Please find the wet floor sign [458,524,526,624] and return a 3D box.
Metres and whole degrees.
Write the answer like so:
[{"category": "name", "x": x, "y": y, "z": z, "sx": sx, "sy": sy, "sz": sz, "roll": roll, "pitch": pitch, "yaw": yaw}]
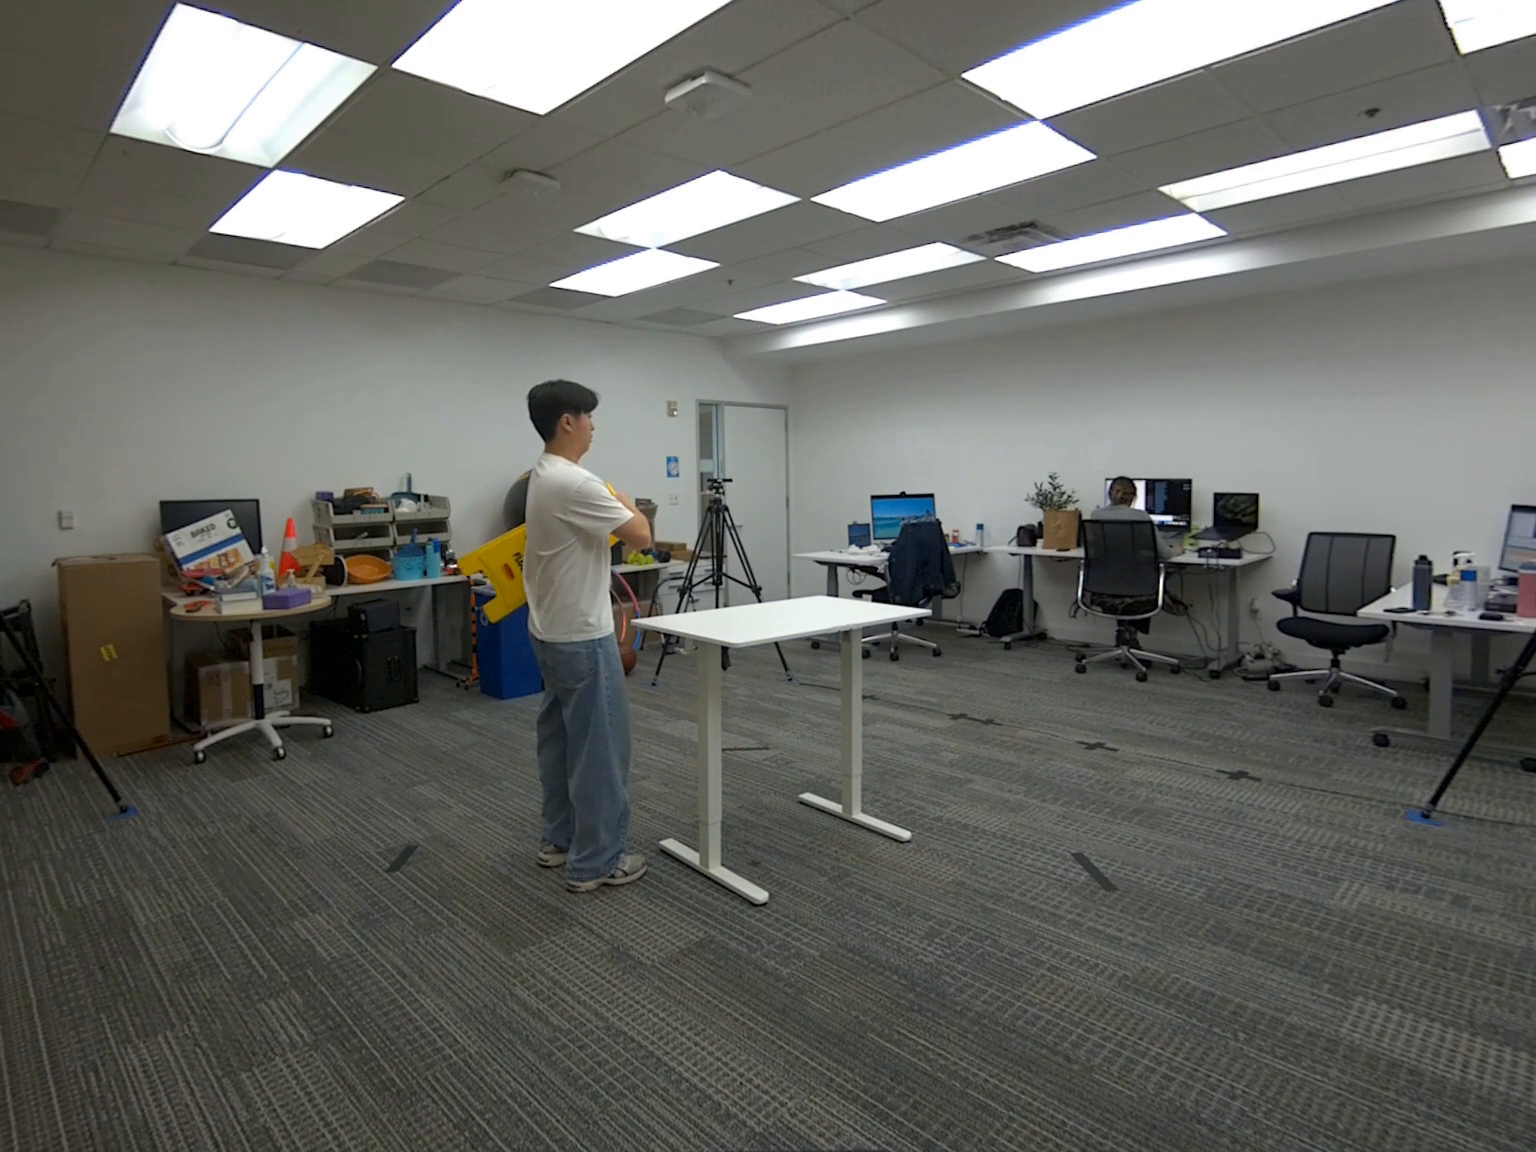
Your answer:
[{"category": "wet floor sign", "x": -0.806, "y": -0.113, "z": 3.277, "sx": 0.649, "sy": 0.281, "sz": 0.290, "roll": -29, "pitch": 6, "yaw": 12}]
